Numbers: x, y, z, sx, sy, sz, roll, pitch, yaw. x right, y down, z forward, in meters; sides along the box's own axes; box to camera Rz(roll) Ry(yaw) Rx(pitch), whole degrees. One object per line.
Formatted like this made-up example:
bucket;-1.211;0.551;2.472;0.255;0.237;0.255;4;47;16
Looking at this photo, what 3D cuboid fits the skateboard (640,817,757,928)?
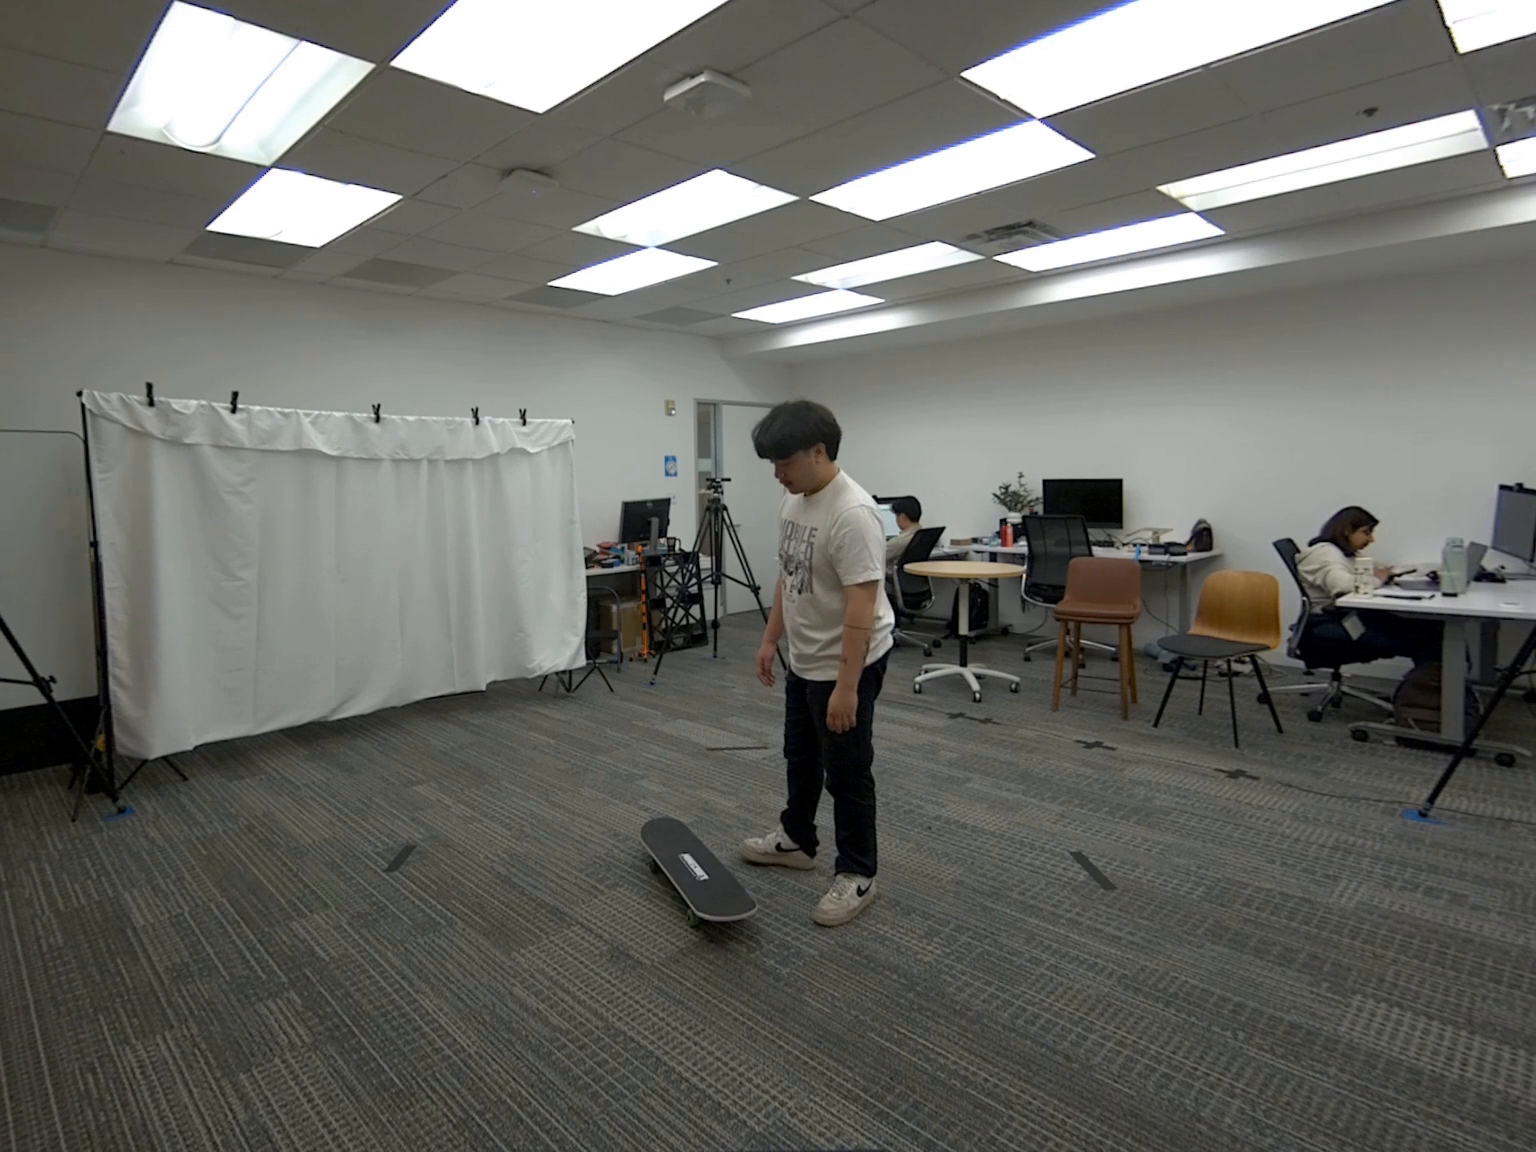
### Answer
skateboard;-0.247;1.016;2.887;0.190;0.110;0.805;-4;7;-24
